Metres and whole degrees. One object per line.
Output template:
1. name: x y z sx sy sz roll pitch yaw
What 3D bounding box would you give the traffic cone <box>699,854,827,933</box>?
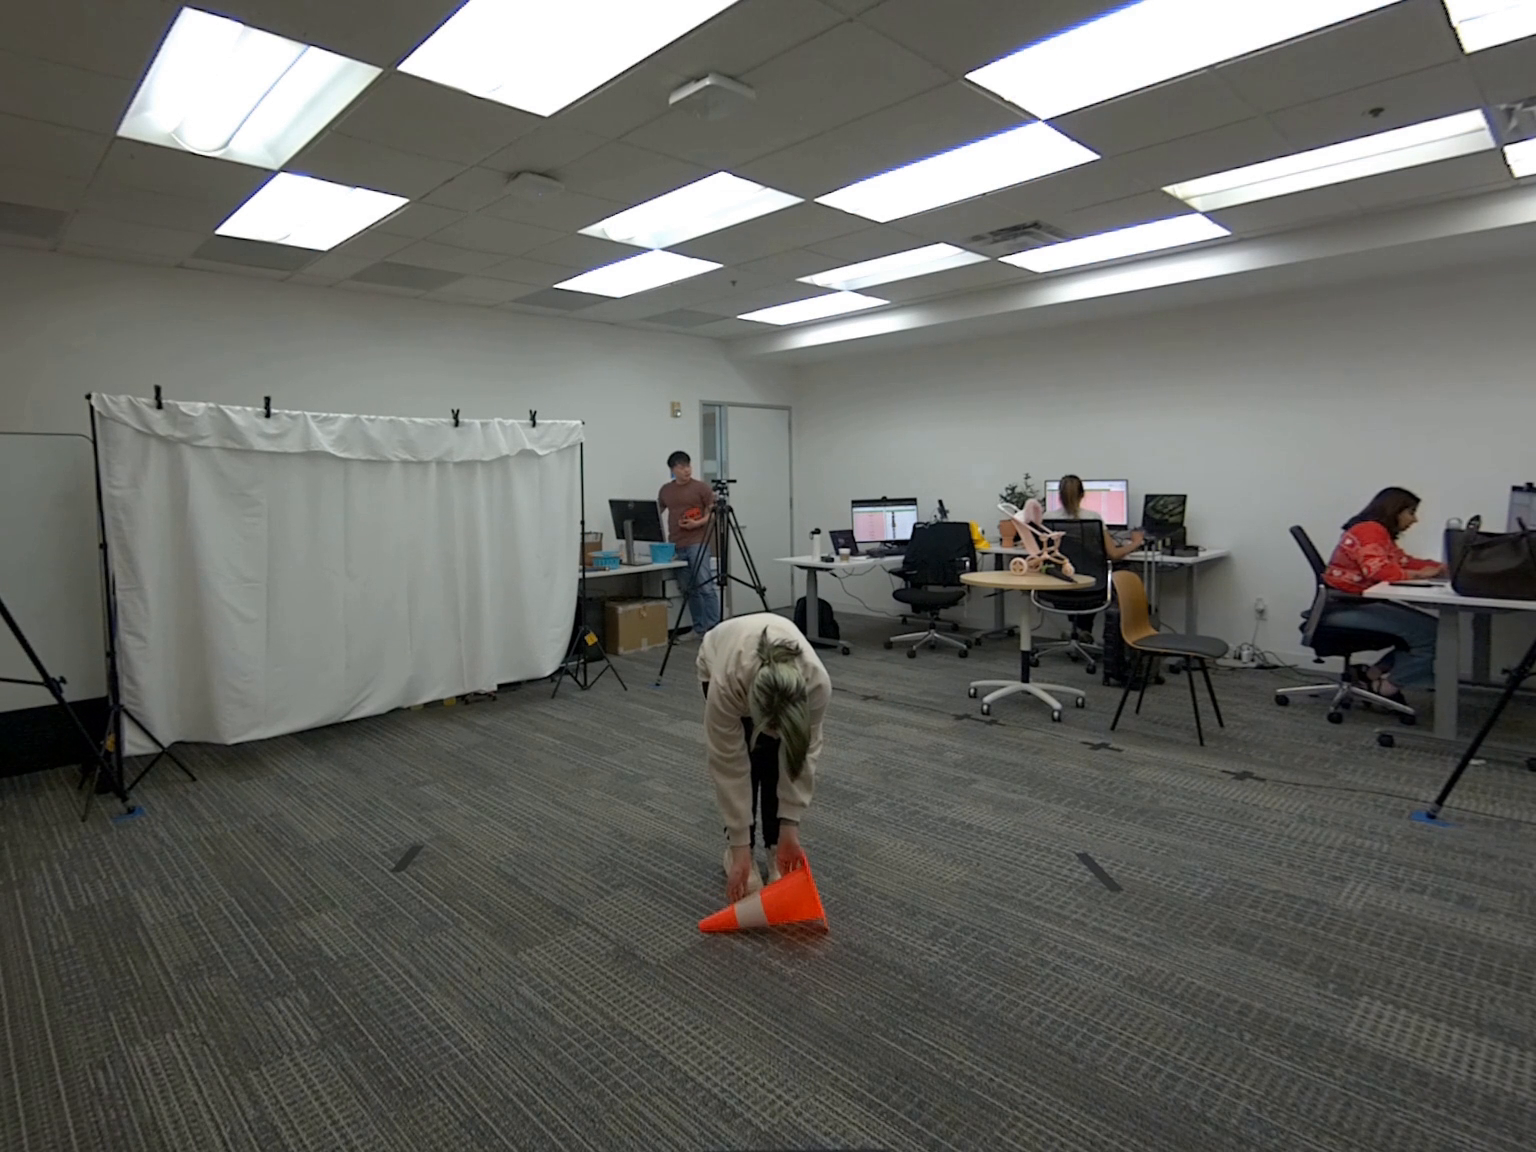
1. traffic cone: -0.028 1.041 2.641 0.384 0.196 0.212 -20 46 2
